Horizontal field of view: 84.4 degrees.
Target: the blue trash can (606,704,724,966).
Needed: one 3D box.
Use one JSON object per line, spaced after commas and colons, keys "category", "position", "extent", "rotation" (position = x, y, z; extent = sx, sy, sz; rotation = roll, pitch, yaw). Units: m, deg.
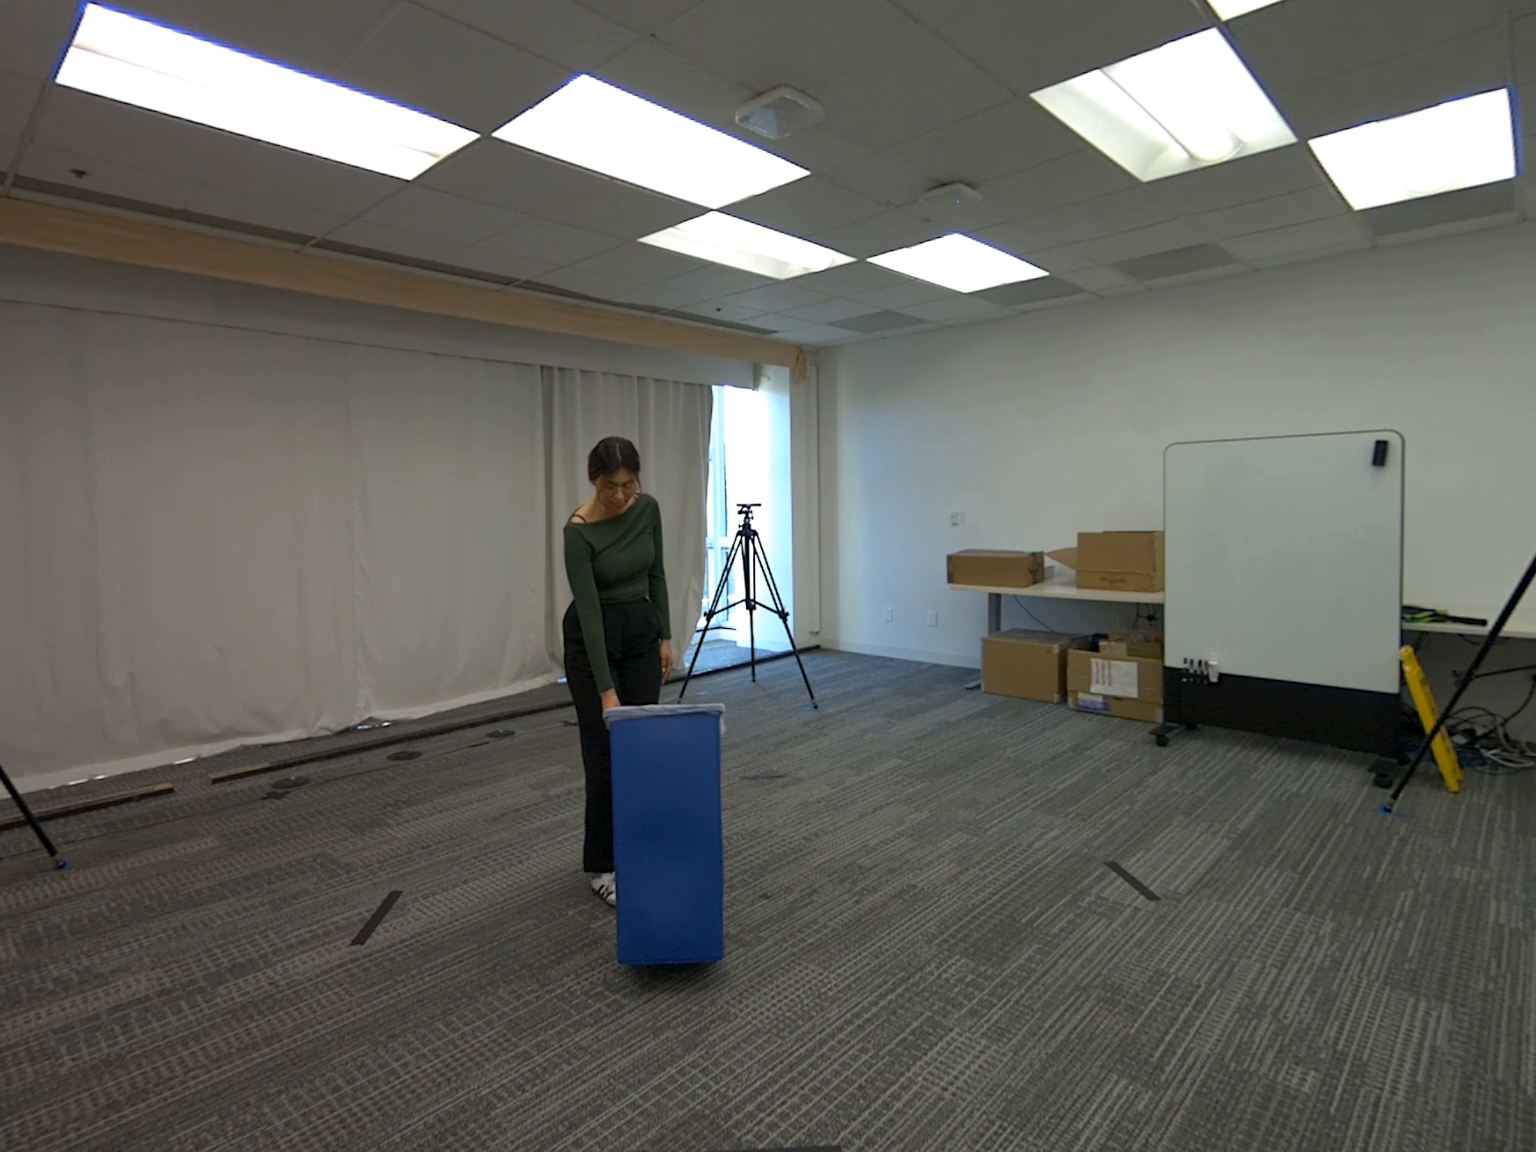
{"category": "blue trash can", "position": [-0.301, 0.790, 2.612], "extent": [0.376, 0.722, 0.372], "rotation": [-2, -17, -6]}
